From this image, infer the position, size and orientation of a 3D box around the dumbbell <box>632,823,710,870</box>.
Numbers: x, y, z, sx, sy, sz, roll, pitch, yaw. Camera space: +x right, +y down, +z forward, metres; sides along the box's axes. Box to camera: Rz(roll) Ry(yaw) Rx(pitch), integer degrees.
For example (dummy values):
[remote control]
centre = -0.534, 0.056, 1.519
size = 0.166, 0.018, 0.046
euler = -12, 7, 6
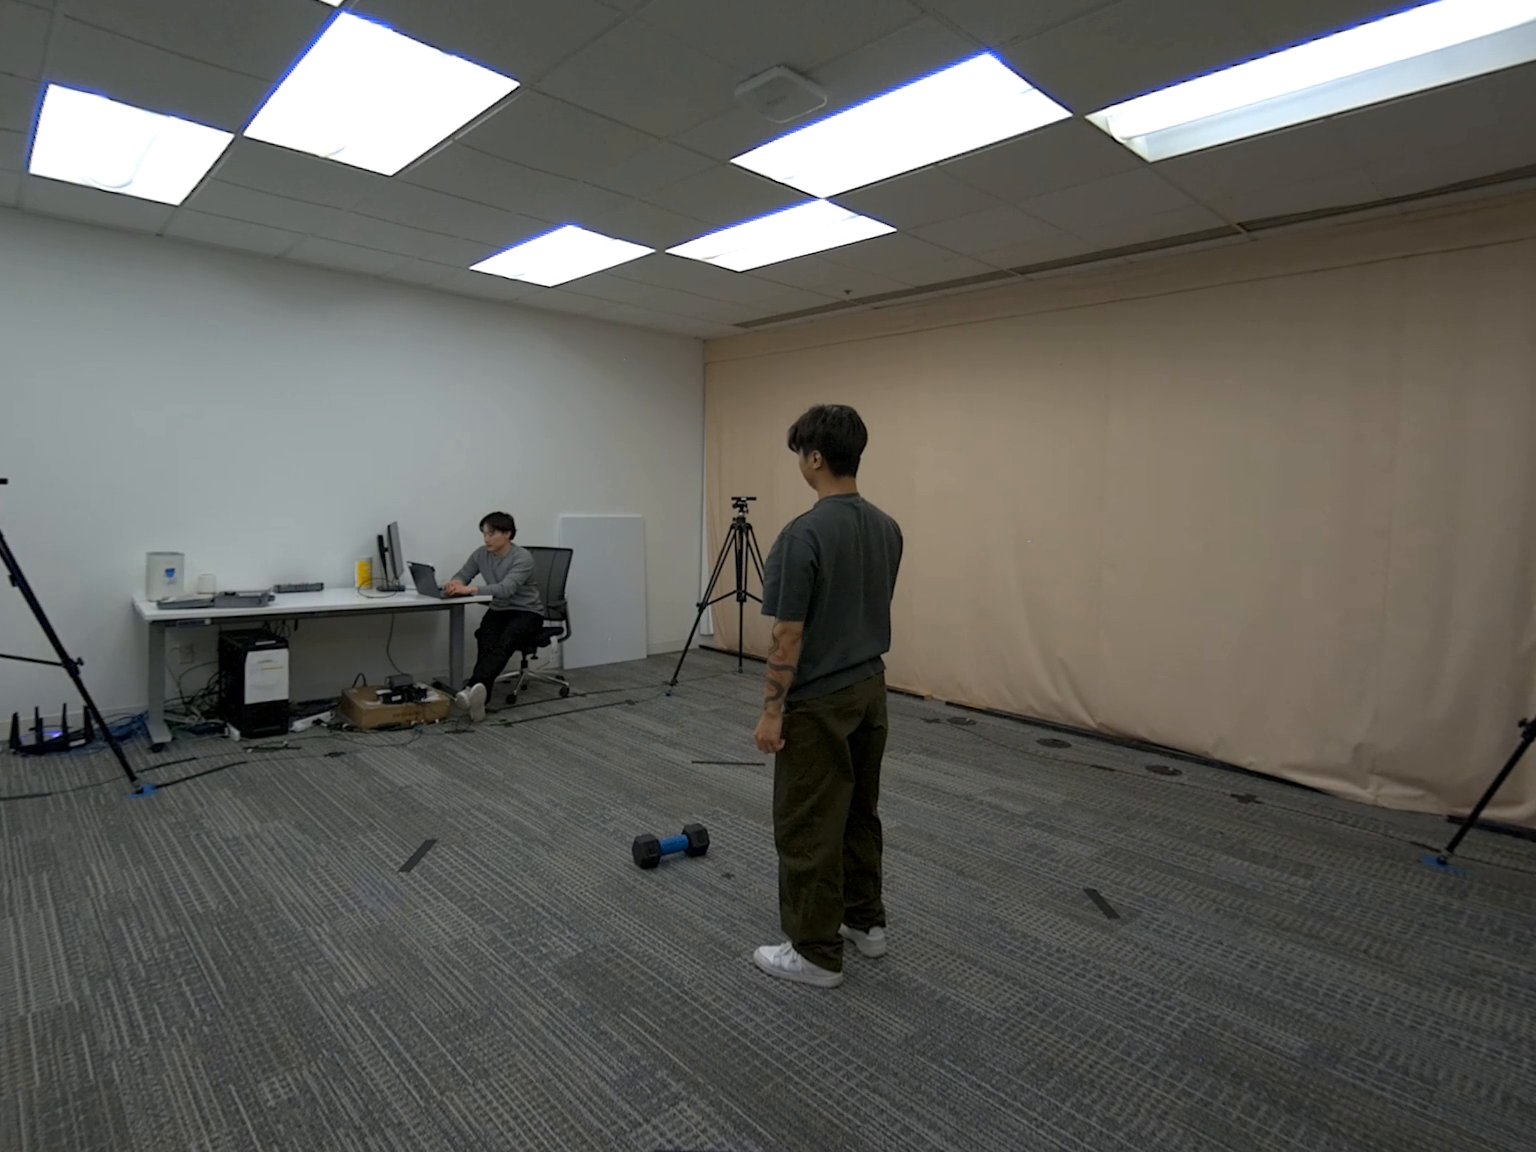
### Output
[dumbbell]
centre = -0.379, 1.035, 3.233
size = 0.287, 0.125, 0.109
euler = -2, -26, -33
